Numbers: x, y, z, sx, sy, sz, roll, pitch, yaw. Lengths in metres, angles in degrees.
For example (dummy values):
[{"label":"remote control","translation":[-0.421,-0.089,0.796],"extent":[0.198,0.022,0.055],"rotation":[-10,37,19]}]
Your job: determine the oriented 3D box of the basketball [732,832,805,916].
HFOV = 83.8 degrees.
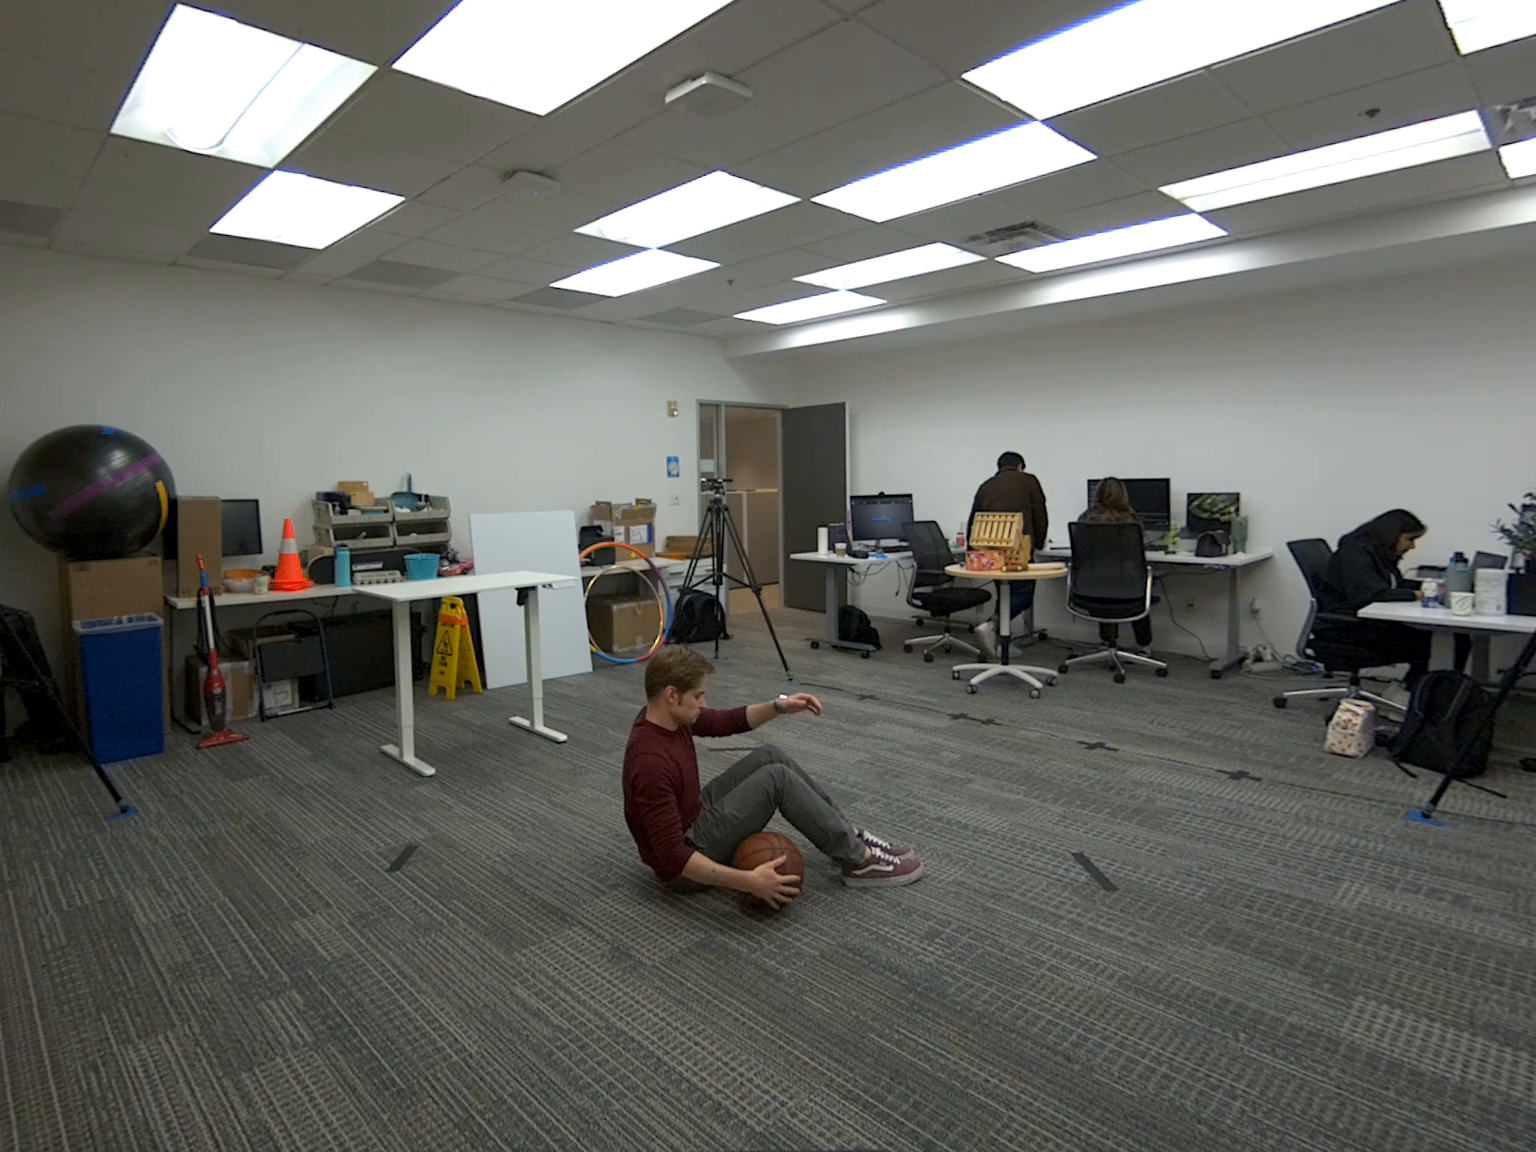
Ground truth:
[{"label":"basketball","translation":[-0.005,0.957,2.789],"extent":[0.236,0.235,0.237],"rotation":[-1,5,-2]}]
